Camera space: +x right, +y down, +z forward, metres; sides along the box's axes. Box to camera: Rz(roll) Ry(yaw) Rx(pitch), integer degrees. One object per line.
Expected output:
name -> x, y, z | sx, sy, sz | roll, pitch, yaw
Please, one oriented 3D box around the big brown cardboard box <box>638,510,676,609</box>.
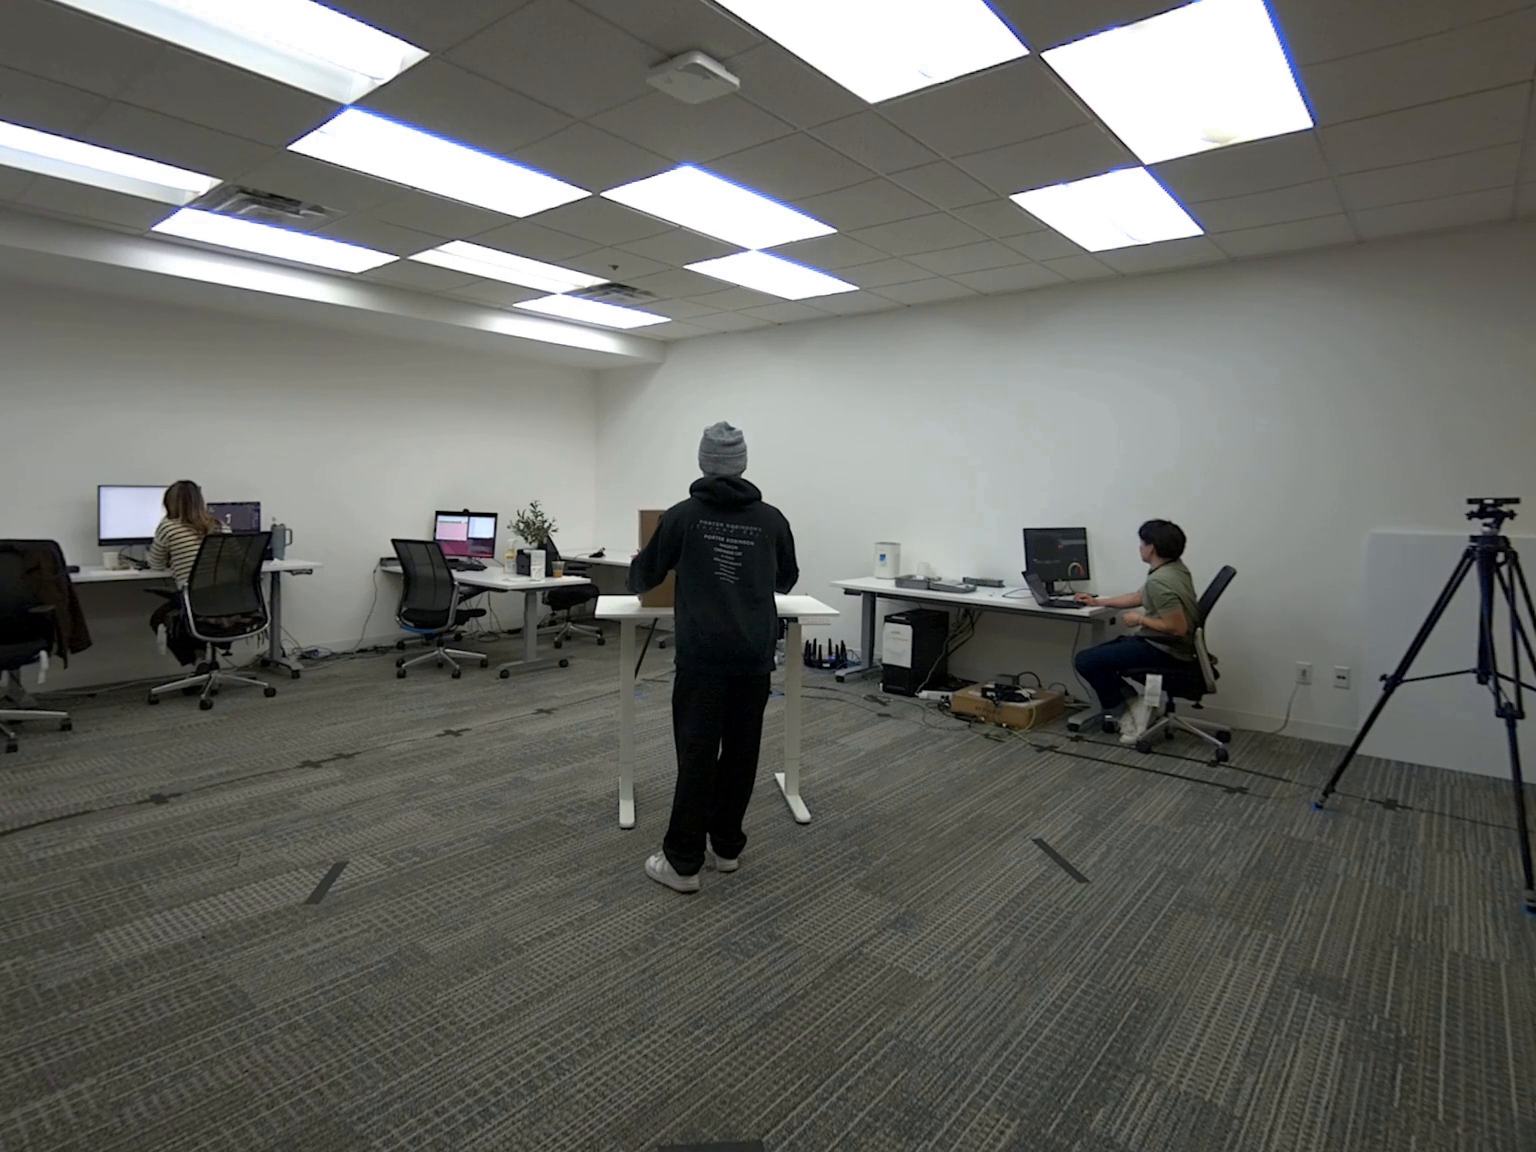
big brown cardboard box -> -0.287, -0.088, 3.730 | 0.584, 0.416, 0.236 | 0, 3, -8
